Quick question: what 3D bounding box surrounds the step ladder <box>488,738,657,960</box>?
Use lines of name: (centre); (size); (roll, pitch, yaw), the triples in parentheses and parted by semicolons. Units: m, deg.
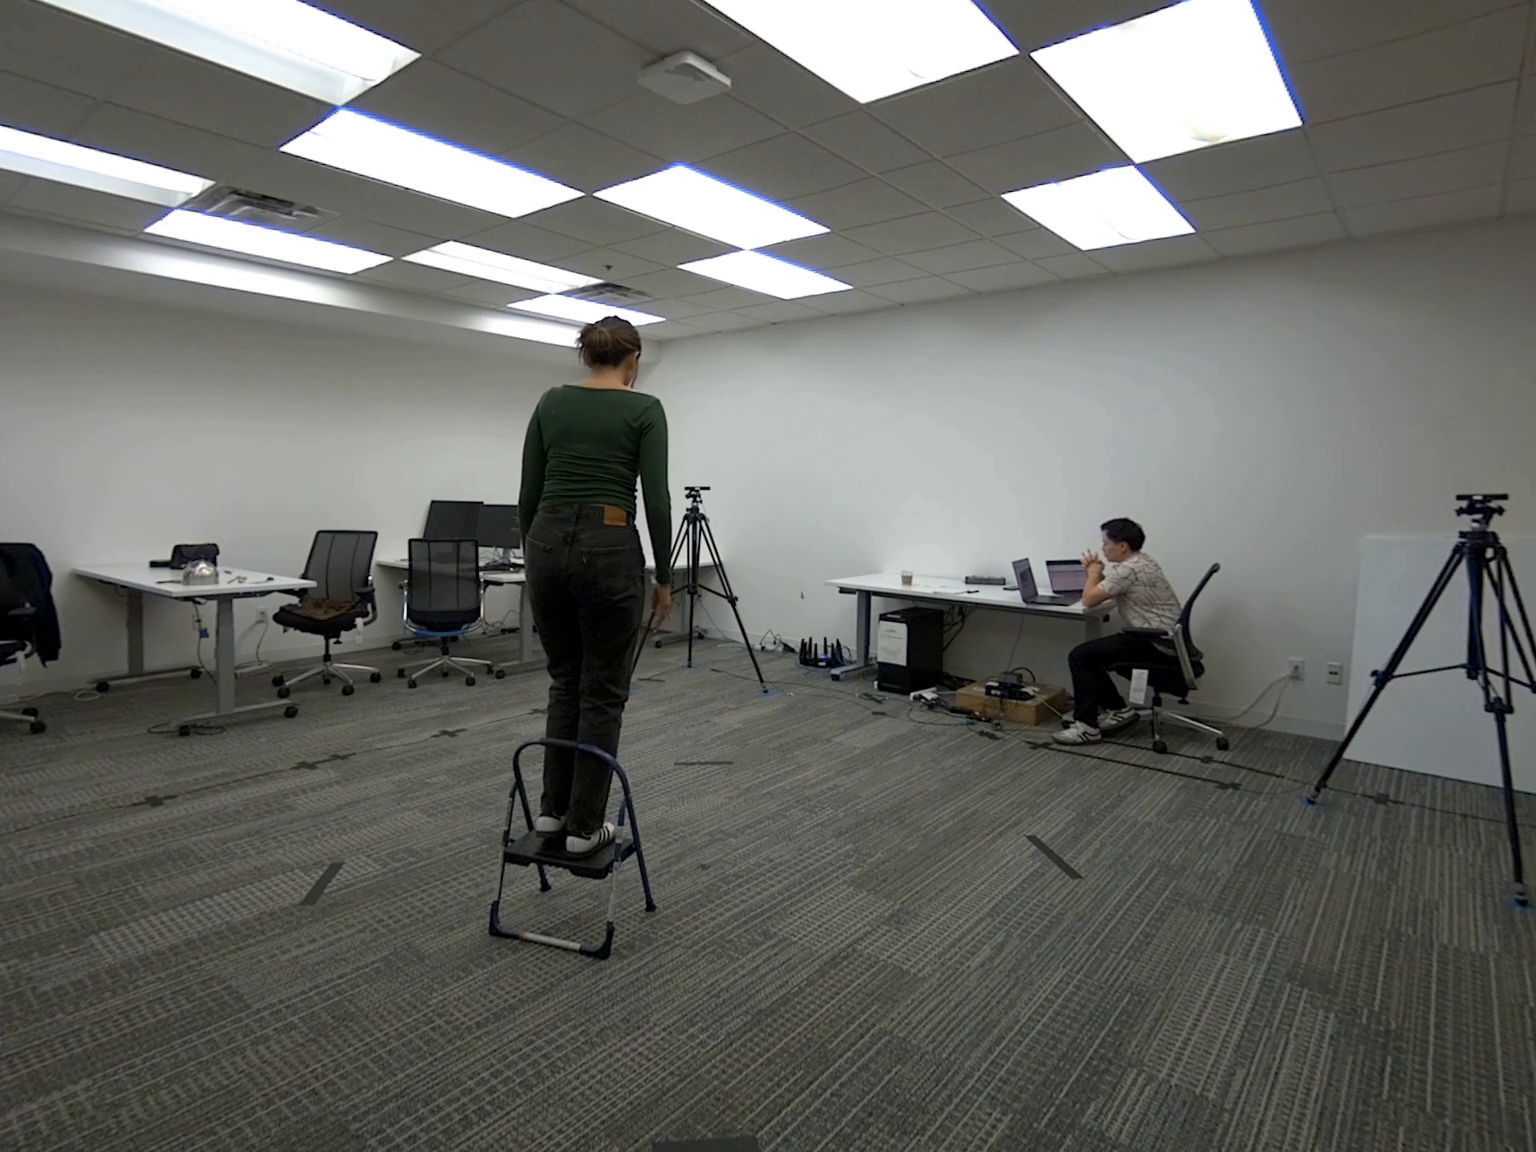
step ladder: (-0.630, 0.802, 2.700); (0.439, 0.604, 0.343); (2, 4, 18)
